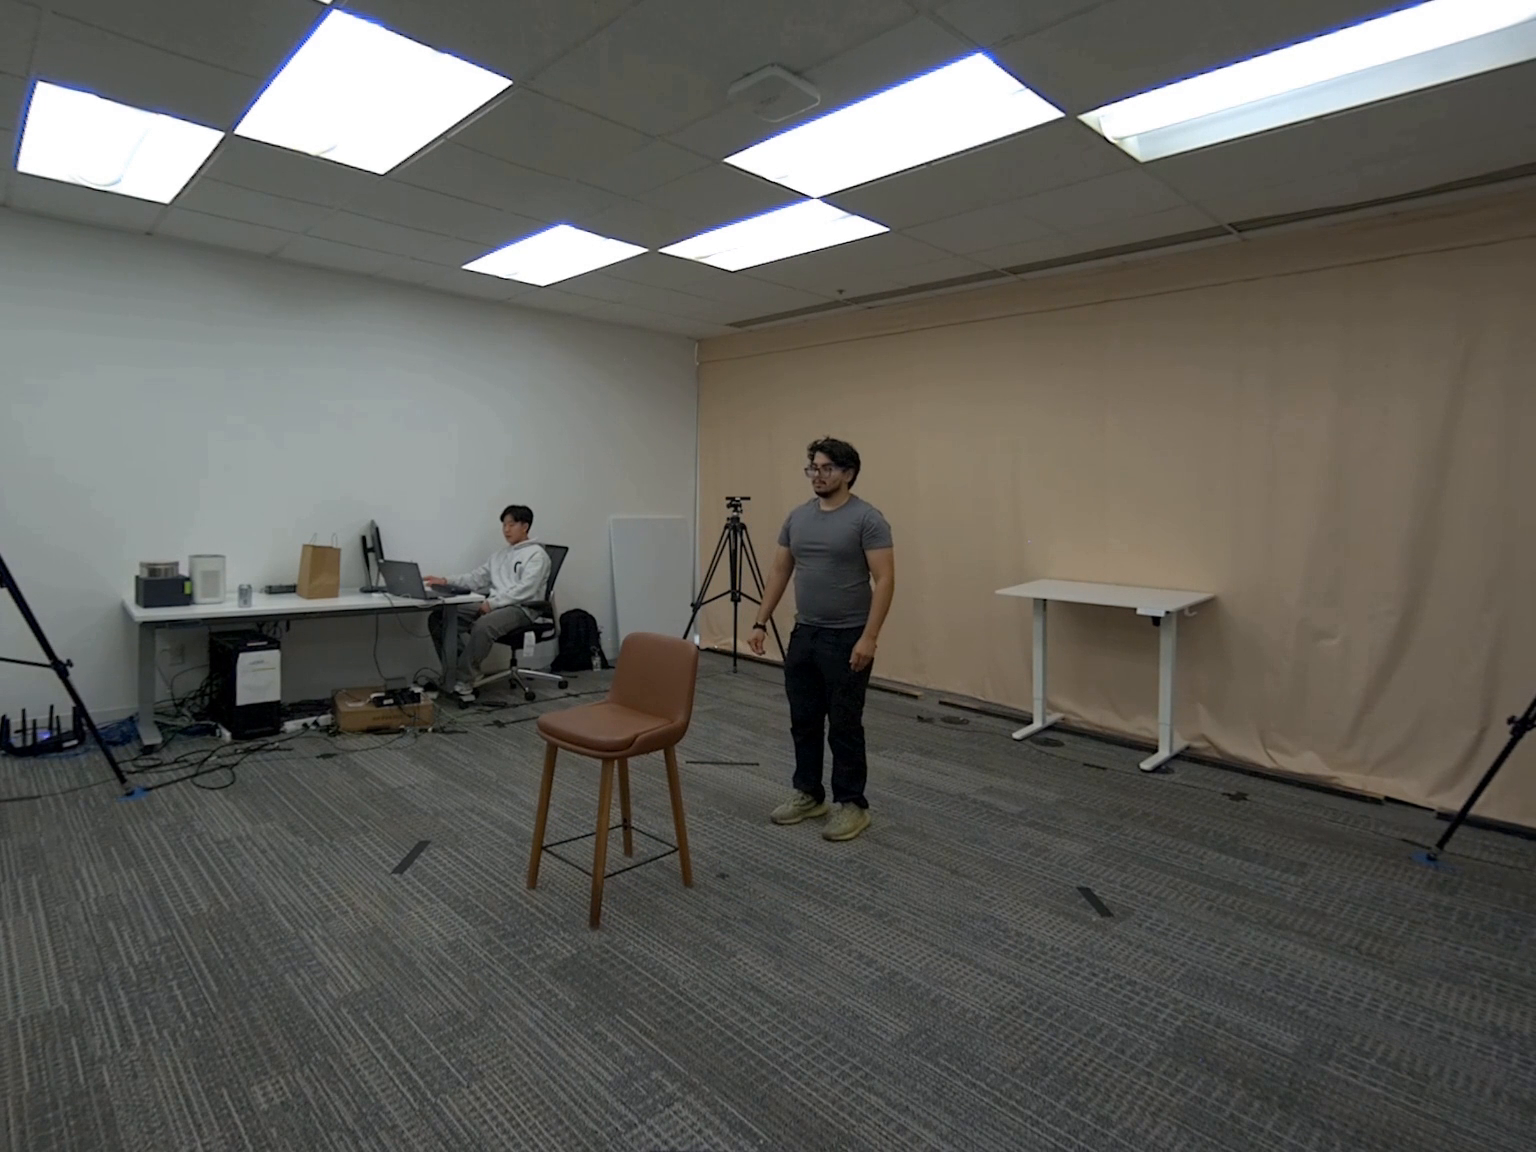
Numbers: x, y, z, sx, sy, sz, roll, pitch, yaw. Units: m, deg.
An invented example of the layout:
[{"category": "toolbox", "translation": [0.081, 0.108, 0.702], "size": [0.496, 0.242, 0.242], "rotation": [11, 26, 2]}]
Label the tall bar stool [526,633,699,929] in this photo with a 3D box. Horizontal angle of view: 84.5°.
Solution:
[{"category": "tall bar stool", "translation": [-0.546, 0.677, 2.969], "size": [0.468, 0.888, 0.456], "rotation": [4, 3, 44]}]
